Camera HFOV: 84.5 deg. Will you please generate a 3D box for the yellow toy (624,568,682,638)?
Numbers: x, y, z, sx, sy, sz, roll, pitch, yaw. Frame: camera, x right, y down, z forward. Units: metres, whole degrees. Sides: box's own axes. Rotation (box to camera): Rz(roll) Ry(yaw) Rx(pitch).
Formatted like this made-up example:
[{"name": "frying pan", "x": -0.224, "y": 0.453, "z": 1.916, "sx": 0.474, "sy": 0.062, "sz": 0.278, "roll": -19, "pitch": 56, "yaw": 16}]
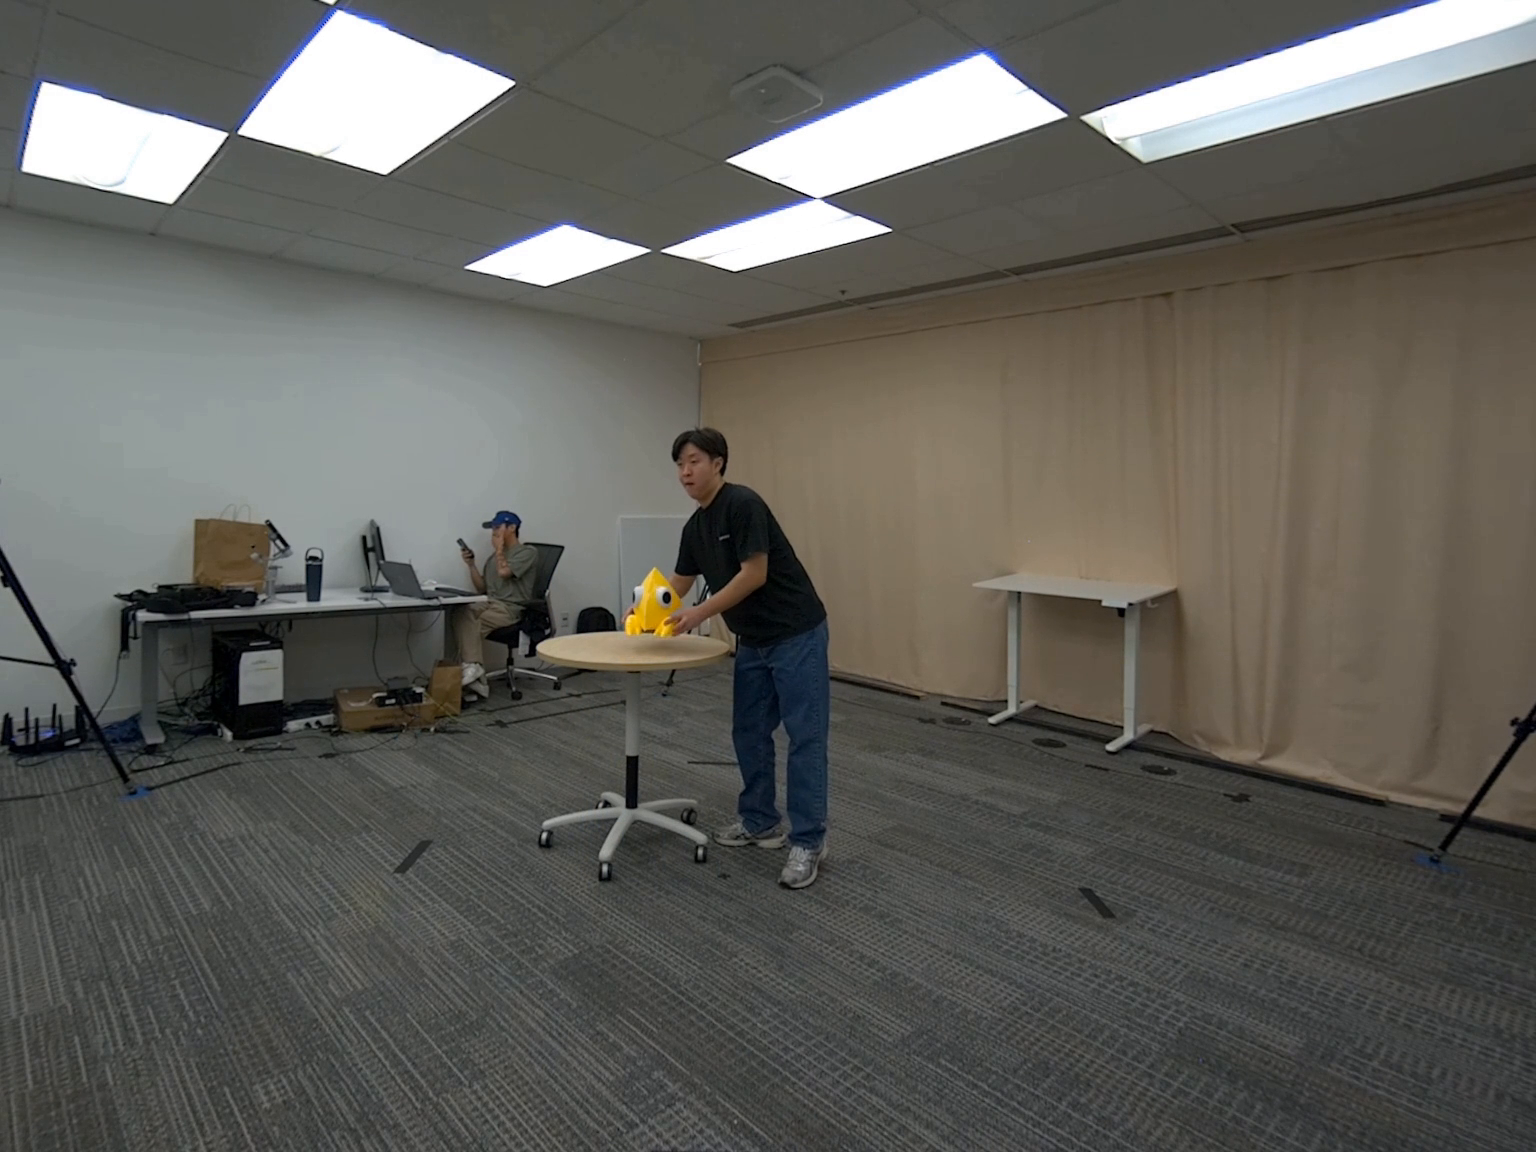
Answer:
[{"name": "yellow toy", "x": -0.449, "y": 0.086, "z": 3.195, "sx": 0.206, "sy": 0.229, "sz": 0.193, "roll": 1, "pitch": 11, "yaw": 10}]
